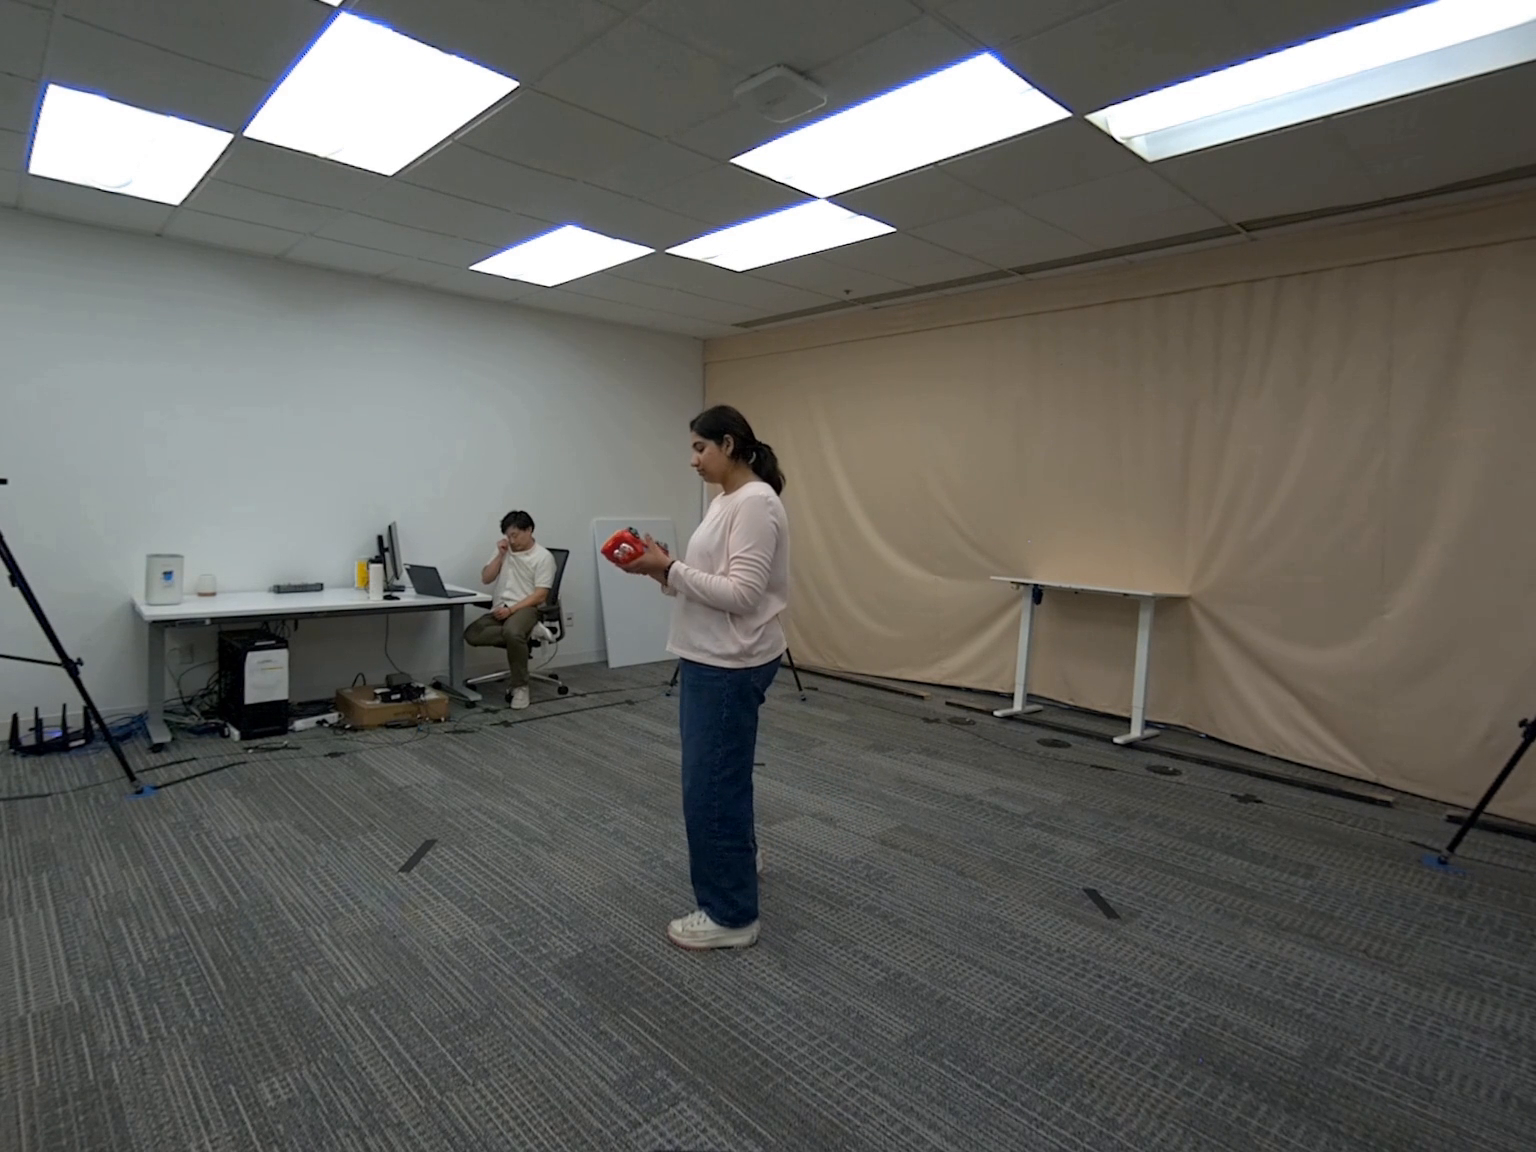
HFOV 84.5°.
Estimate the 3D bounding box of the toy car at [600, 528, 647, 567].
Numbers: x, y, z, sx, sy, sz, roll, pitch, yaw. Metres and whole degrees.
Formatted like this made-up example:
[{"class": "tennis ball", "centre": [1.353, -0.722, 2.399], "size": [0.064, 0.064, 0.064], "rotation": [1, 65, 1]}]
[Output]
[{"class": "toy car", "centre": [-0.413, -0.075, 2.587], "size": [0.130, 0.085, 0.248], "rotation": [-40, -25, 16]}]
